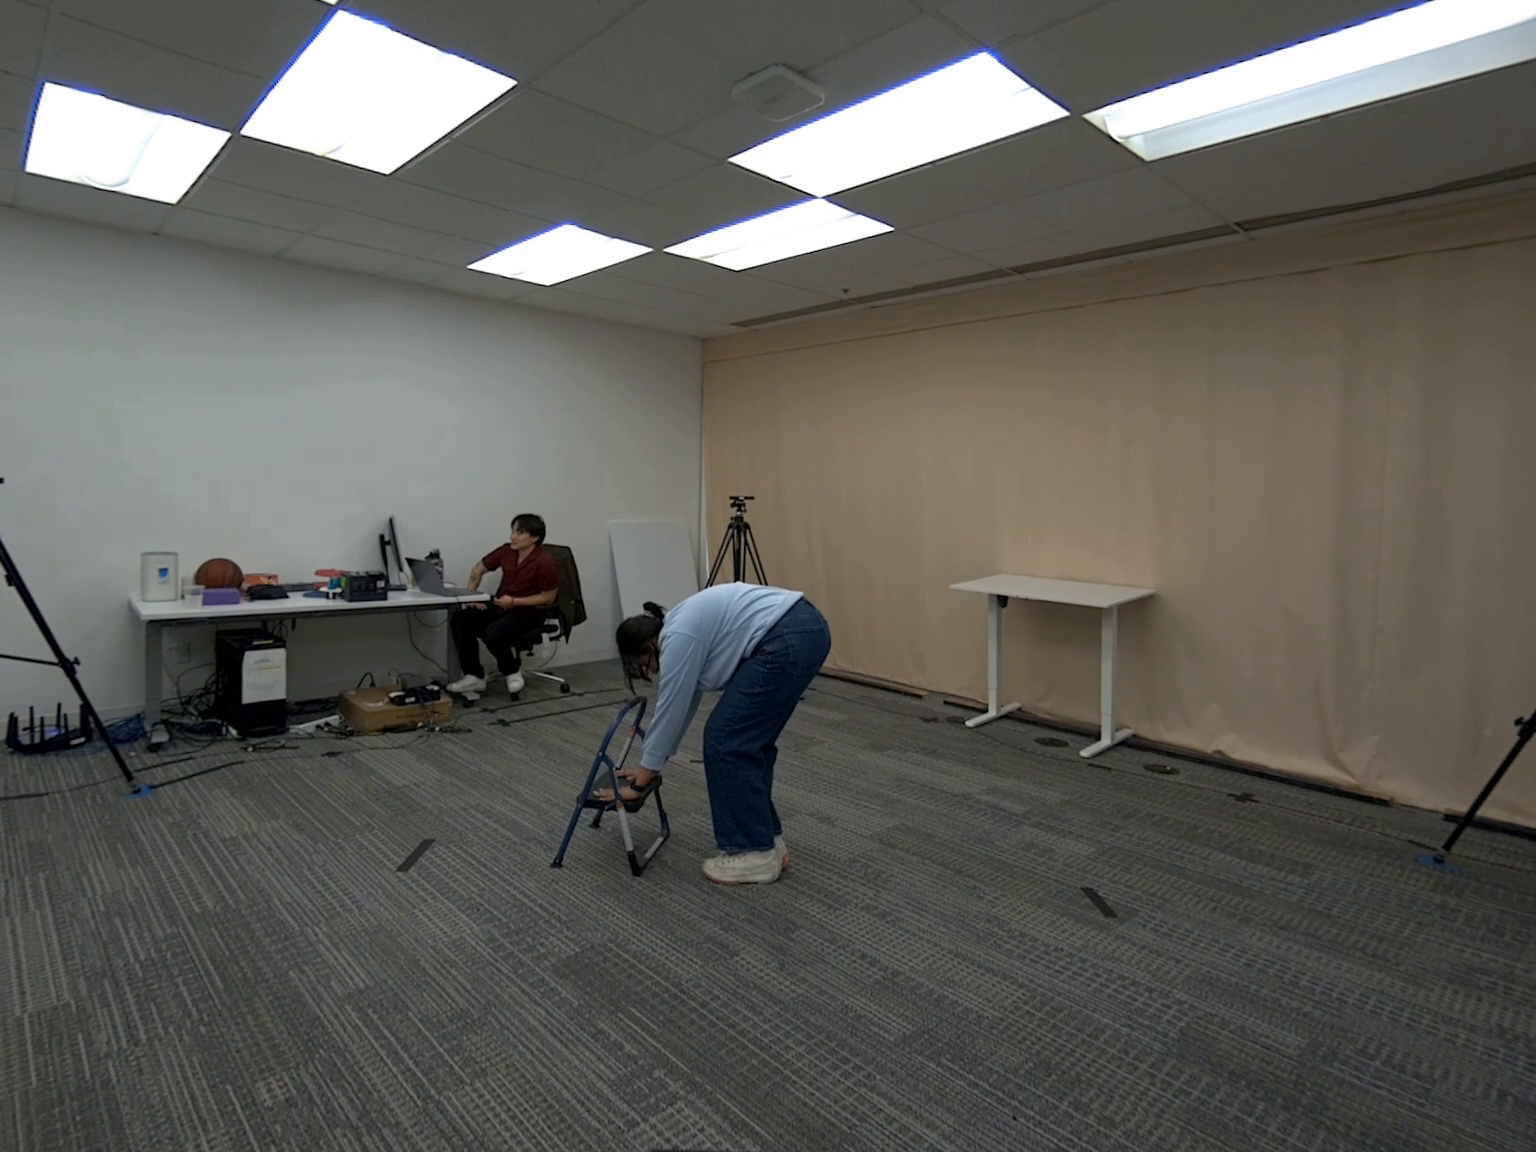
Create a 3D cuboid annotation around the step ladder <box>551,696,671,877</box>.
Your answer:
[{"bbox_3d":[-0.601,0.769,3.291,0.352,0.604,0.428,2,4,10],"label":"step ladder"}]
